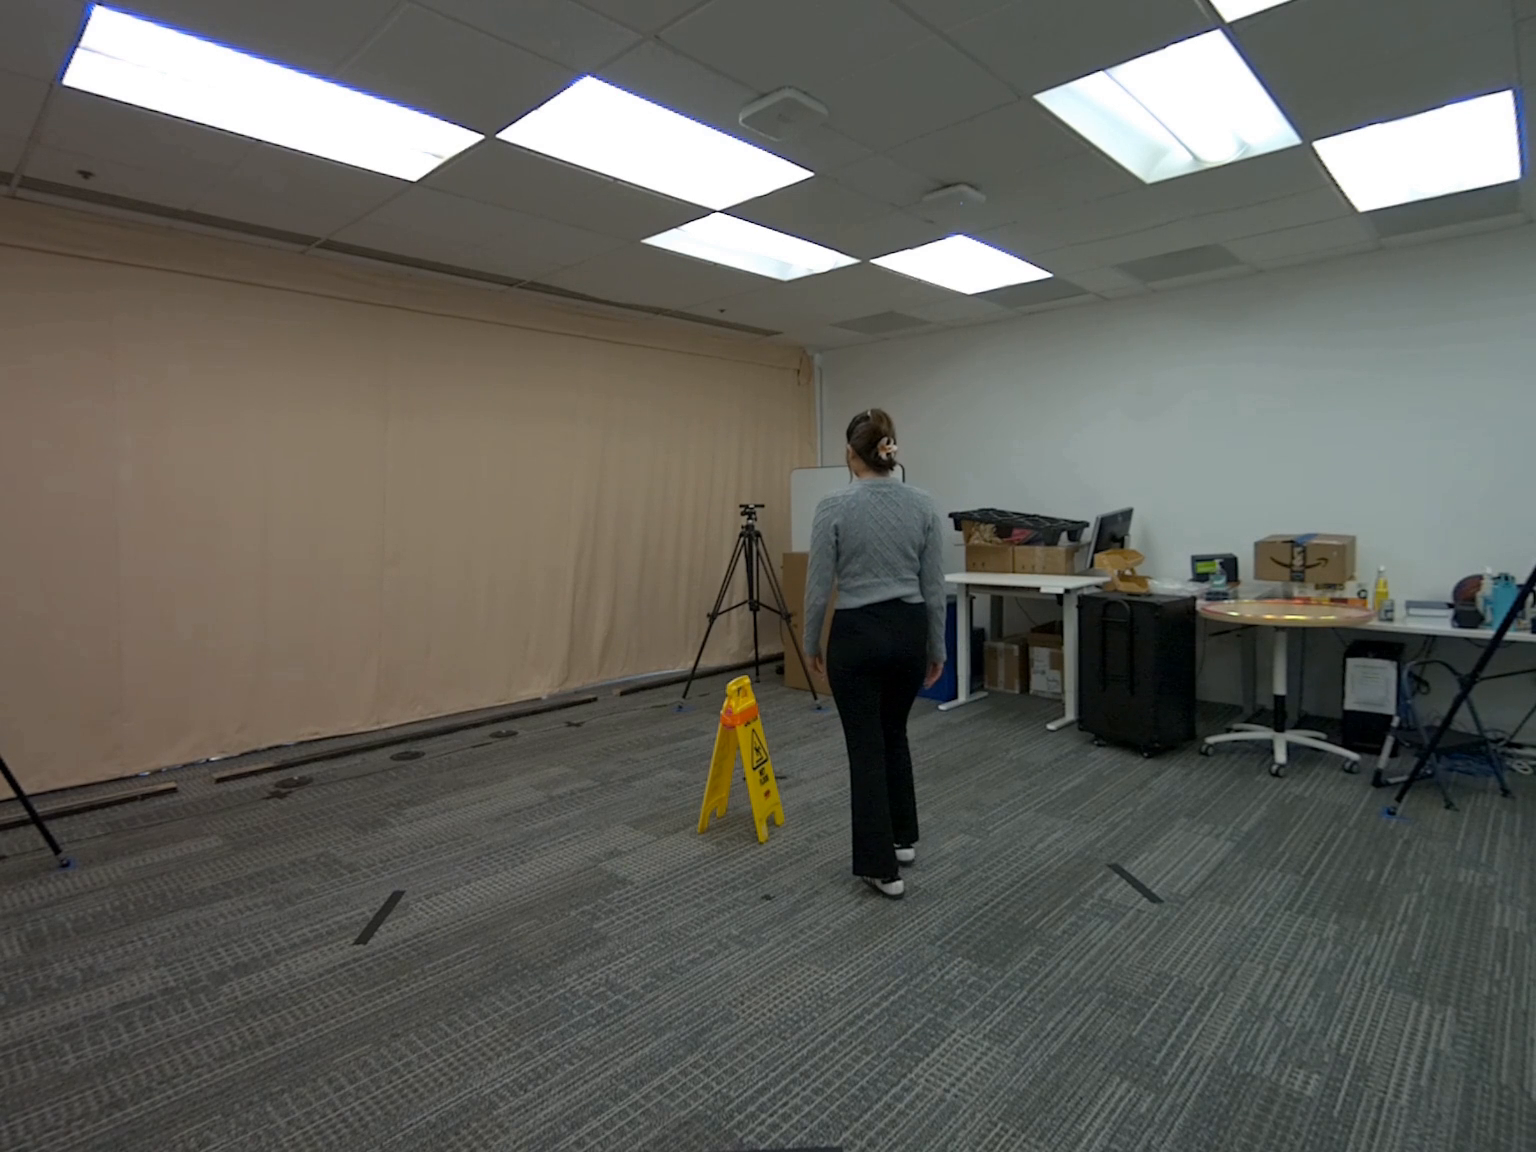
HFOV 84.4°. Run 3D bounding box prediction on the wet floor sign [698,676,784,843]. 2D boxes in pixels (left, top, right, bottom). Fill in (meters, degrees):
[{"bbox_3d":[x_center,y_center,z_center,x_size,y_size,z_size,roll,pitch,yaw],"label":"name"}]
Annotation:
[{"bbox_3d":[-0.123,0.764,3.627,0.296,0.645,0.276,-1,2,23],"label":"wet floor sign"}]
